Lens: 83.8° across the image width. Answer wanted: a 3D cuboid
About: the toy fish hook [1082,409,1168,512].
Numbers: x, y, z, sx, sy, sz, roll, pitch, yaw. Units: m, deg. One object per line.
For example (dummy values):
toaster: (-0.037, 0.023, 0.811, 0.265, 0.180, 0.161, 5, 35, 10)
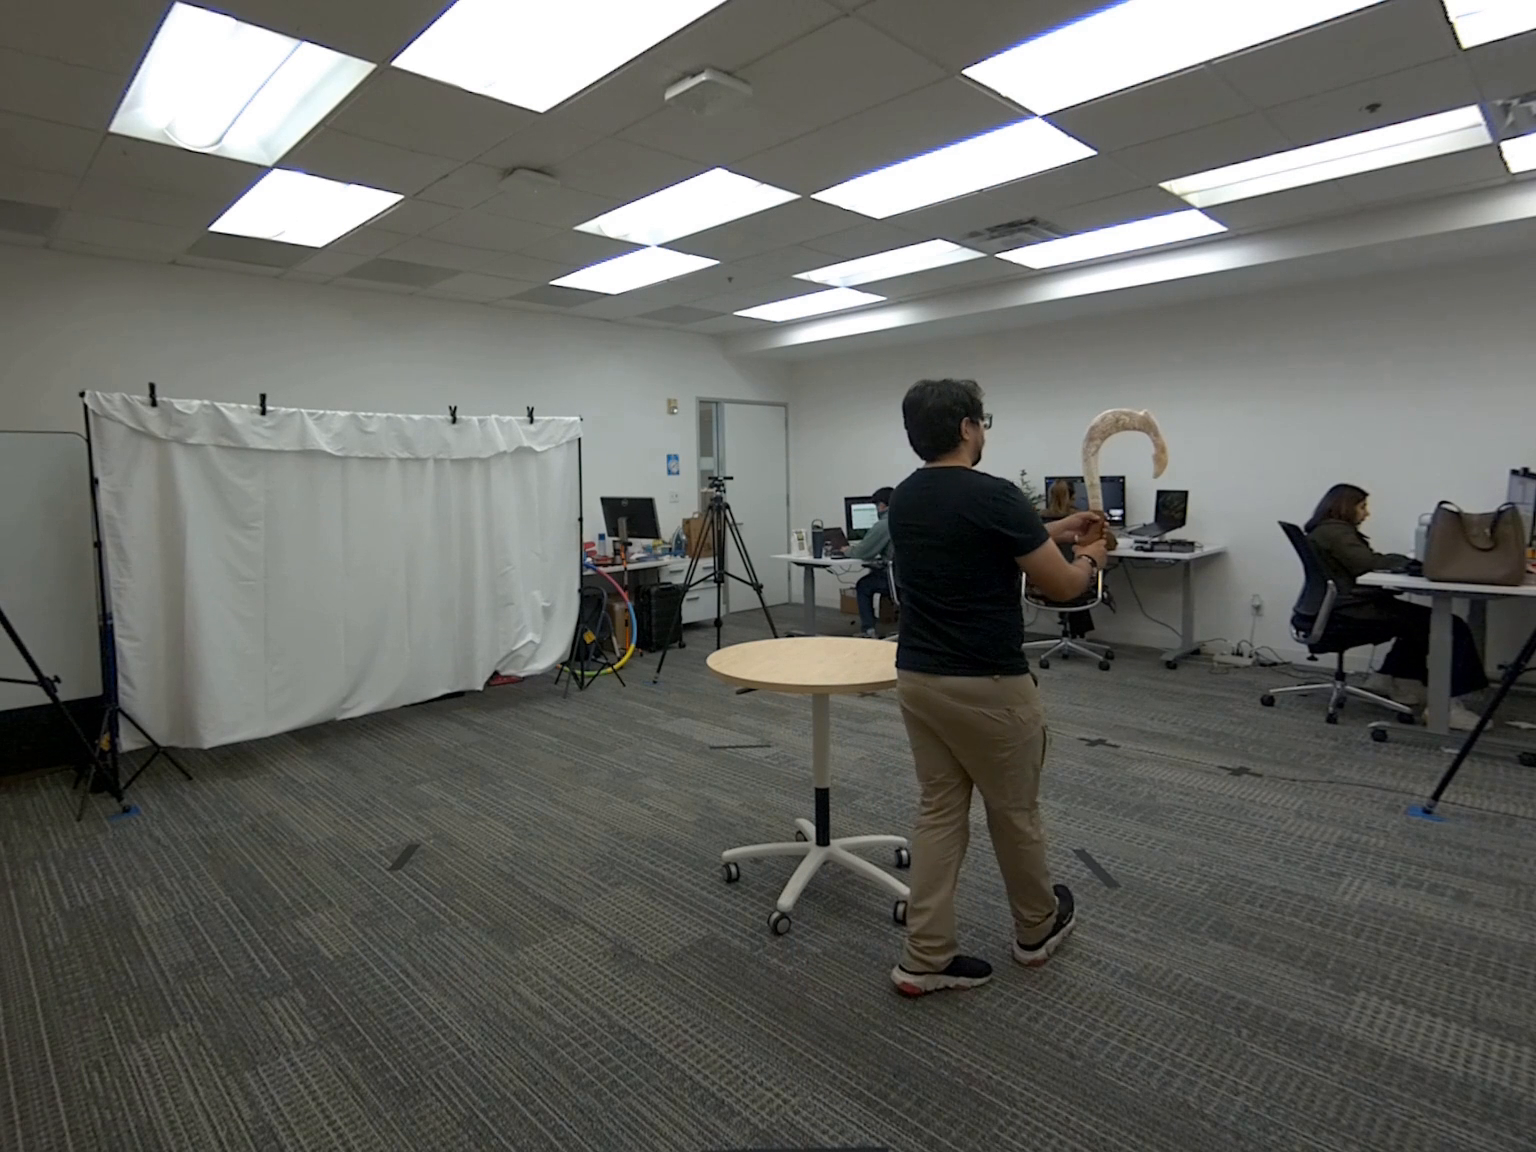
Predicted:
toy fish hook: (1.017, -0.236, 2.447, 0.231, 0.508, 0.047, 8, -3, 32)
